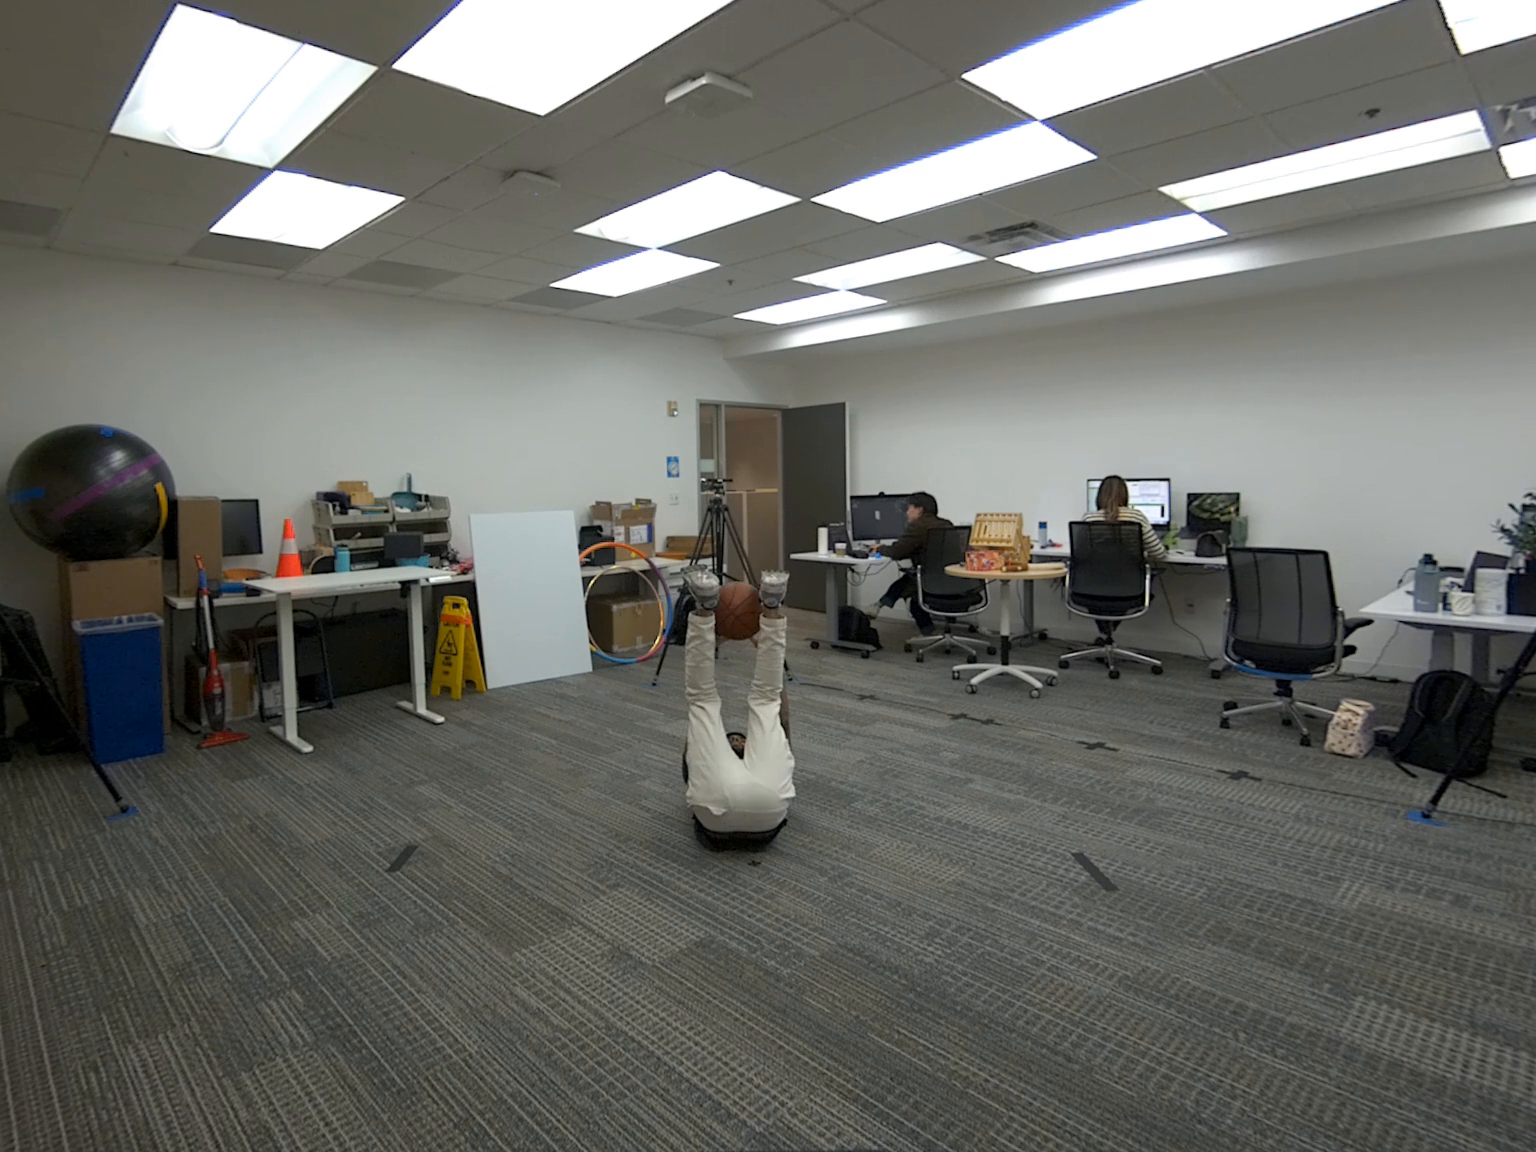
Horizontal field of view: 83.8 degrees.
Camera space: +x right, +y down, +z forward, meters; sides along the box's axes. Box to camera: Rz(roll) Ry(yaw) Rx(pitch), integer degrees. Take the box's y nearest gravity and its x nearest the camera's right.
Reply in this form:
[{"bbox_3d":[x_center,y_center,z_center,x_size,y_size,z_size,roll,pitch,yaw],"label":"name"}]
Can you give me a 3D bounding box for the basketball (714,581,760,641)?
[{"bbox_3d":[-0.126,0.138,3.481,0.236,0.235,0.237,-1,5,-2],"label":"basketball"}]
